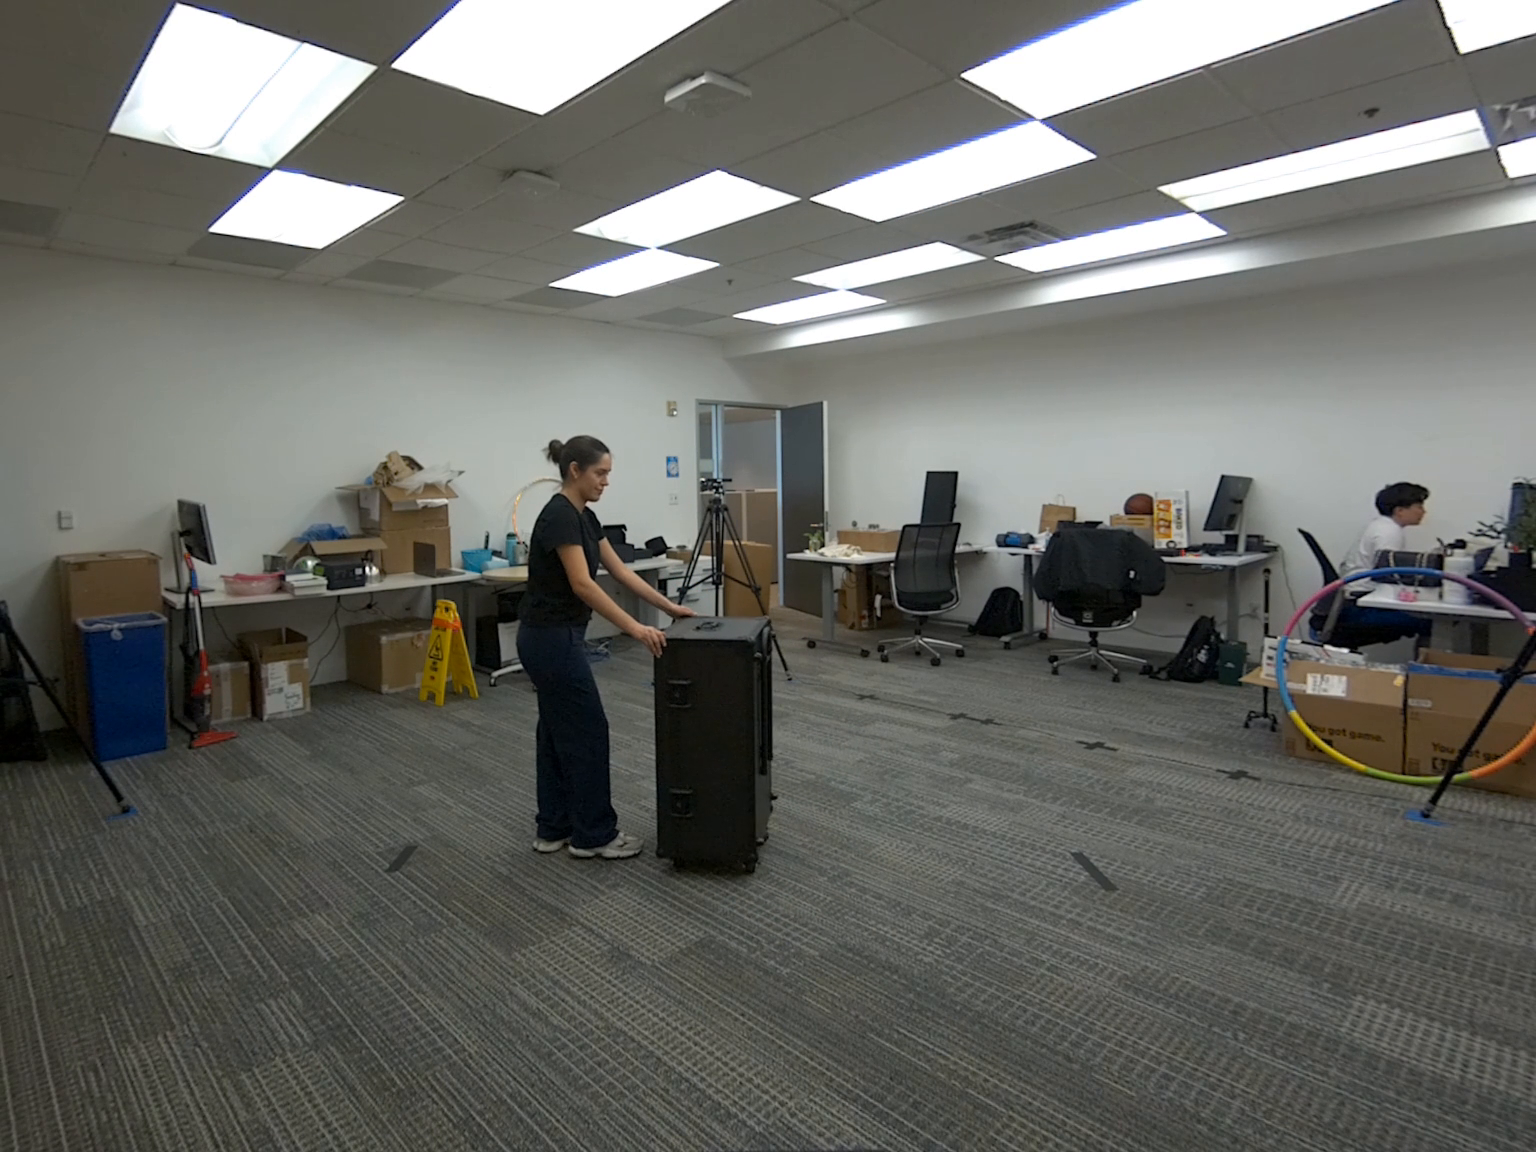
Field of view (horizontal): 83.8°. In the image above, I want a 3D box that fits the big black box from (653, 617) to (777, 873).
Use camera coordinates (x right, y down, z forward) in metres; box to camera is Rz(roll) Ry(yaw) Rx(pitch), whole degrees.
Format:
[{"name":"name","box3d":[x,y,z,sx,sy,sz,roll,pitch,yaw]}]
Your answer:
[{"name":"big black box","box3d":[-0.183,0.613,3.201,0.400,0.858,0.519,1,4,8]}]
